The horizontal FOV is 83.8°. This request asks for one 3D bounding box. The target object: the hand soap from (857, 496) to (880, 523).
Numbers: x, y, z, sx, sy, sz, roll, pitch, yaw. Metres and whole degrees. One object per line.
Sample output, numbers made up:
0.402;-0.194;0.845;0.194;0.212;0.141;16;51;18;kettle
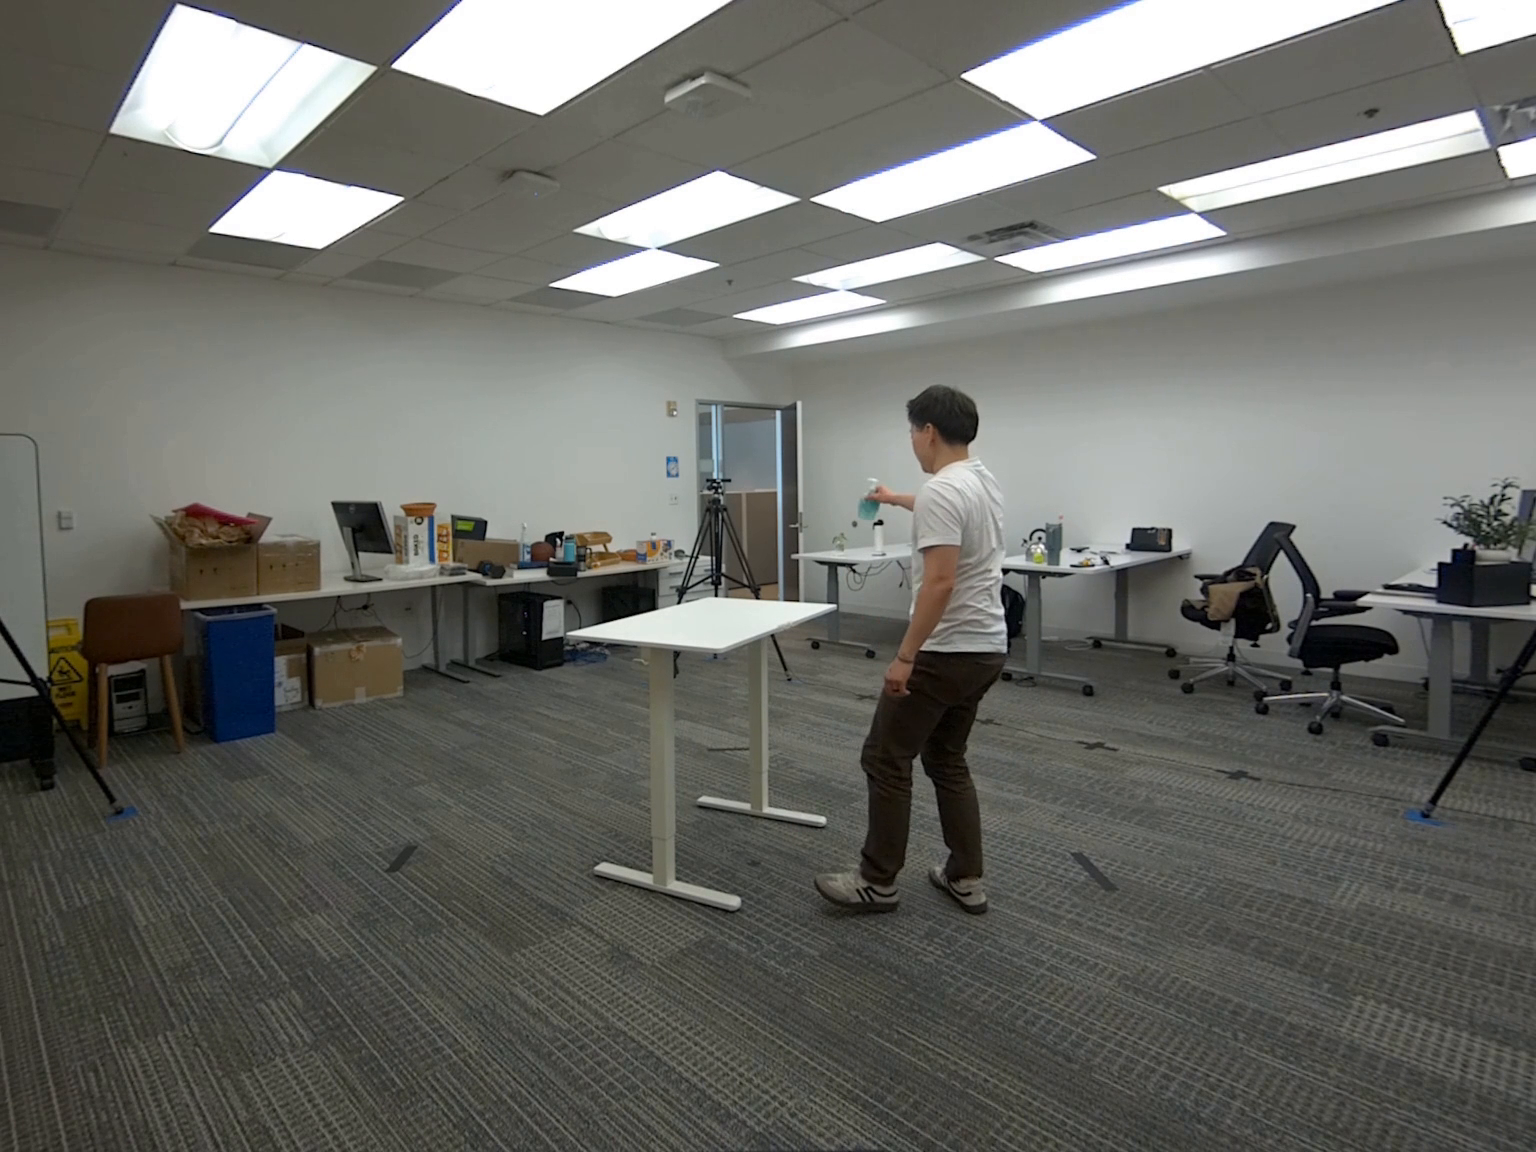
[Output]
0.408;-0.296;3.408;0.083;0.166;0.044;6;17;-11;hand soap
